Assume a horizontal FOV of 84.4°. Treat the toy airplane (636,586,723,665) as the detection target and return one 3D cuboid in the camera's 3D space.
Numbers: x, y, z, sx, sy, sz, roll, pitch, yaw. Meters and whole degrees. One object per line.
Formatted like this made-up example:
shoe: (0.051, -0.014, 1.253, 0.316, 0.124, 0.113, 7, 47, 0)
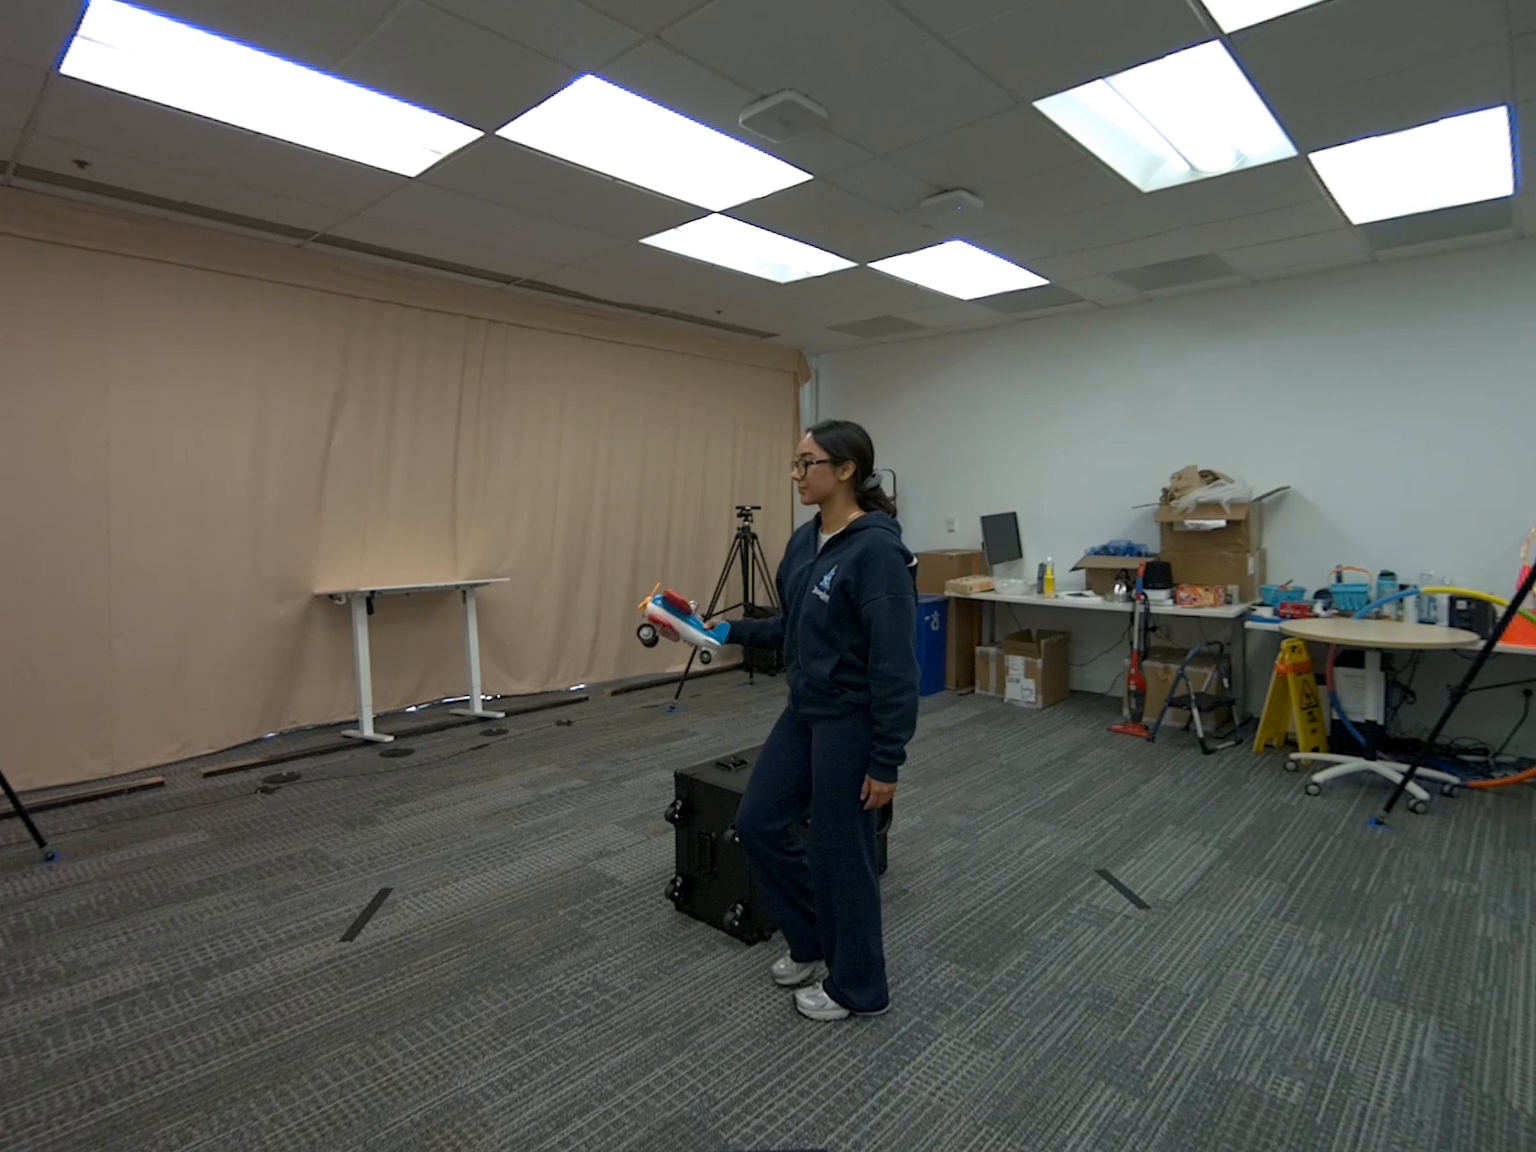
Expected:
toy airplane: (-0.237, 0.159, 2.408, 0.253, 0.157, 0.256, 21, -15, -21)
